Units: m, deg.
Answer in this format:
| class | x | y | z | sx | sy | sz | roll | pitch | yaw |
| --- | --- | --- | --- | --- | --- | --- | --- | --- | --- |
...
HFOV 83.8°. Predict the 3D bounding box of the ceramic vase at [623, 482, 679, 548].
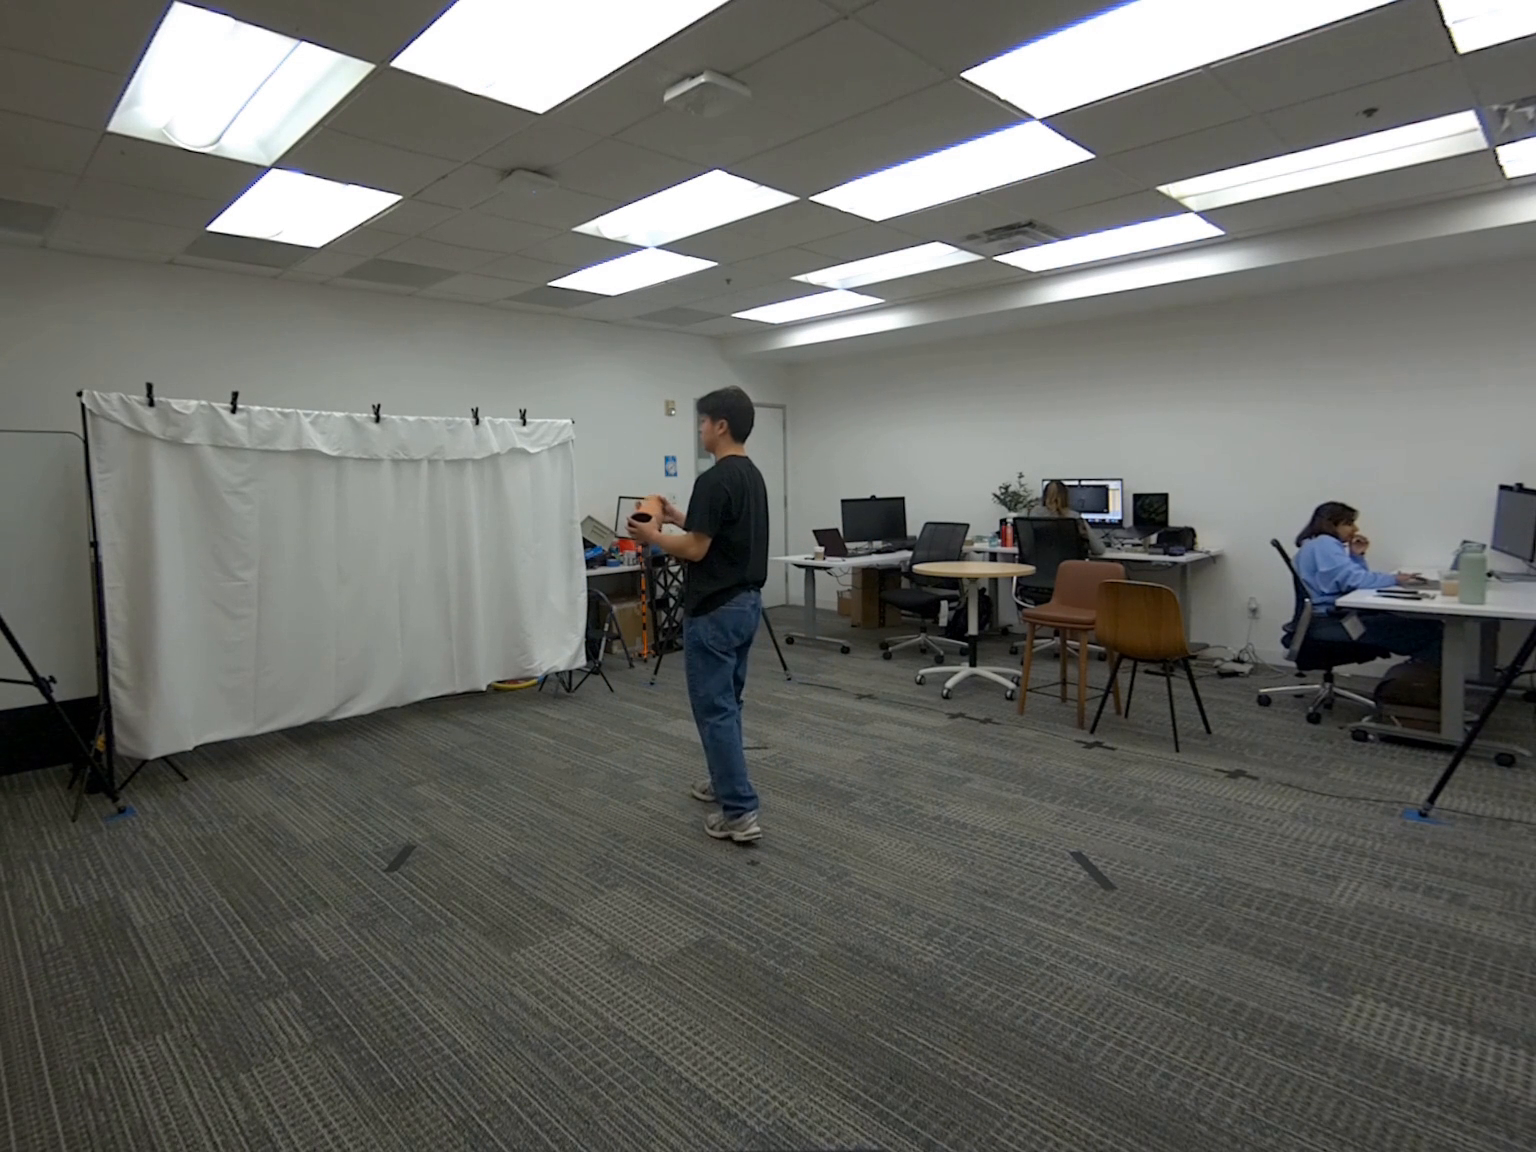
| class | x | y | z | sx | sy | sz | roll | pitch | yaw |
| --- | --- | --- | --- | --- | --- | --- | --- | --- | --- |
| ceramic vase | -0.497 | -0.262 | 3.638 | 0.134 | 0.157 | 0.222 | 24 | 30 | -3 |
